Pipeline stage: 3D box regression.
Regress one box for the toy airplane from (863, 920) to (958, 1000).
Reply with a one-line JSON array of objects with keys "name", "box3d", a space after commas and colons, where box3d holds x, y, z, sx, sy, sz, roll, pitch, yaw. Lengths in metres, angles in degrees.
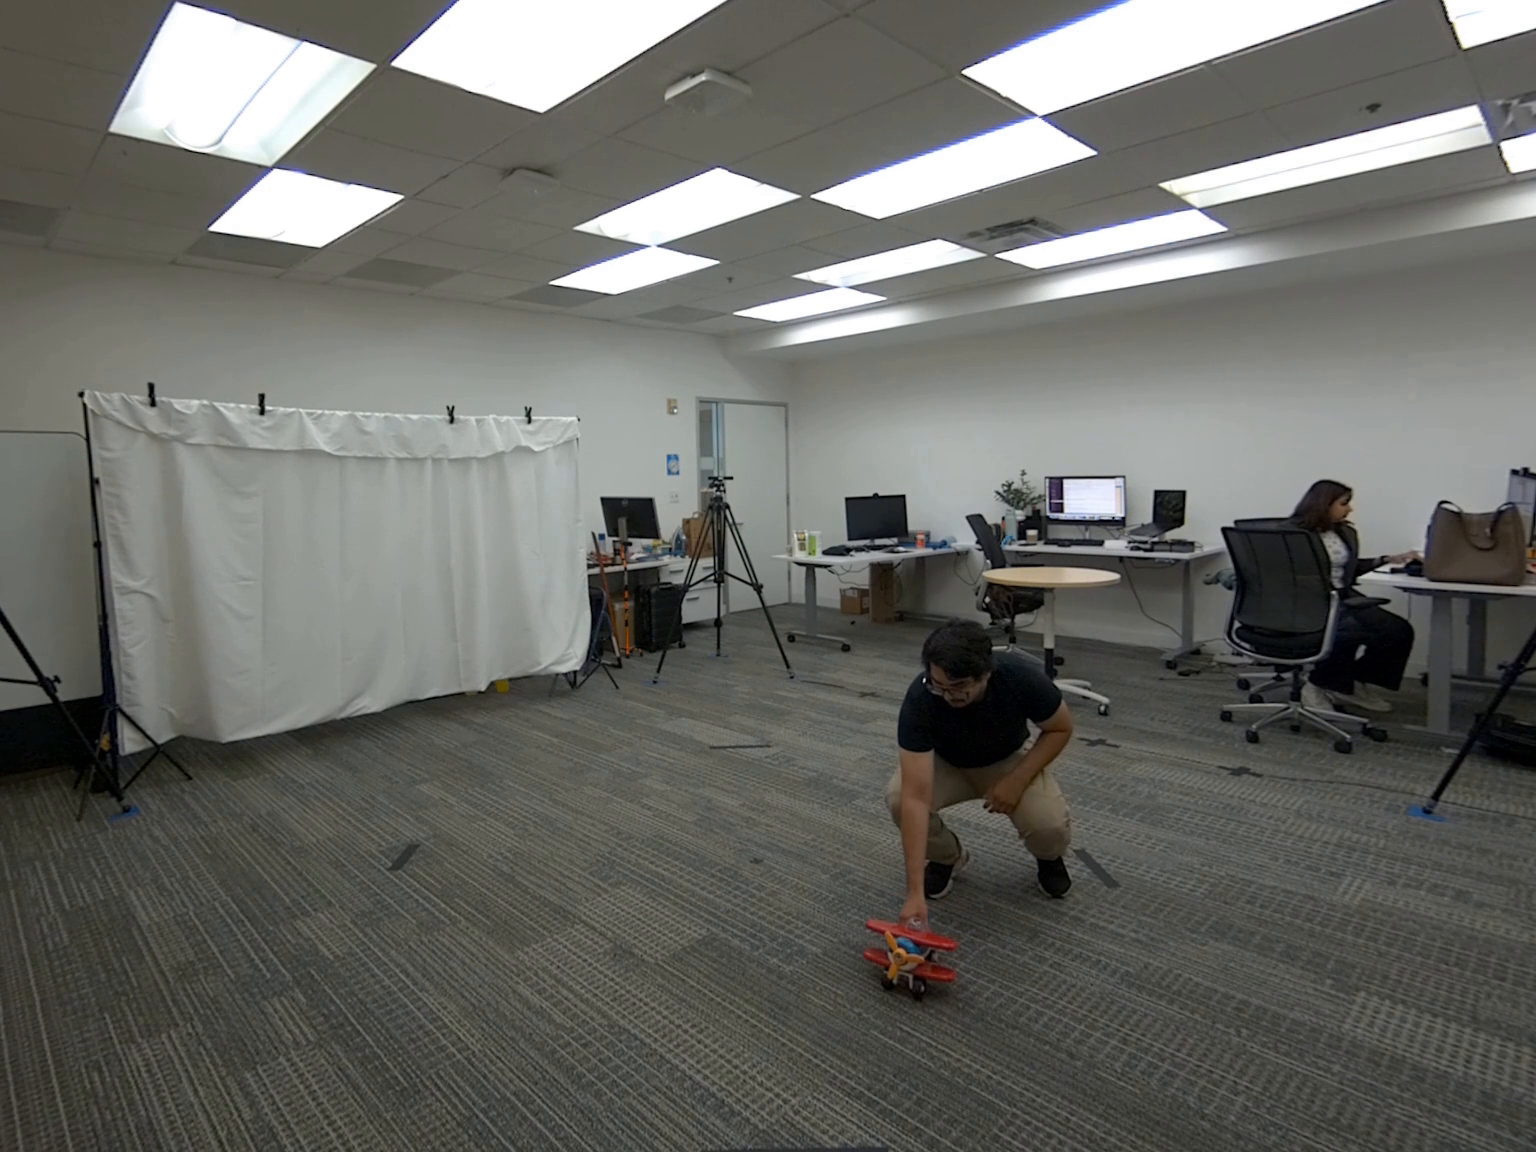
[{"name": "toy airplane", "box3d": [0.396, 1.042, 2.376, 0.251, 0.155, 0.260, -1, 7, 0]}]
